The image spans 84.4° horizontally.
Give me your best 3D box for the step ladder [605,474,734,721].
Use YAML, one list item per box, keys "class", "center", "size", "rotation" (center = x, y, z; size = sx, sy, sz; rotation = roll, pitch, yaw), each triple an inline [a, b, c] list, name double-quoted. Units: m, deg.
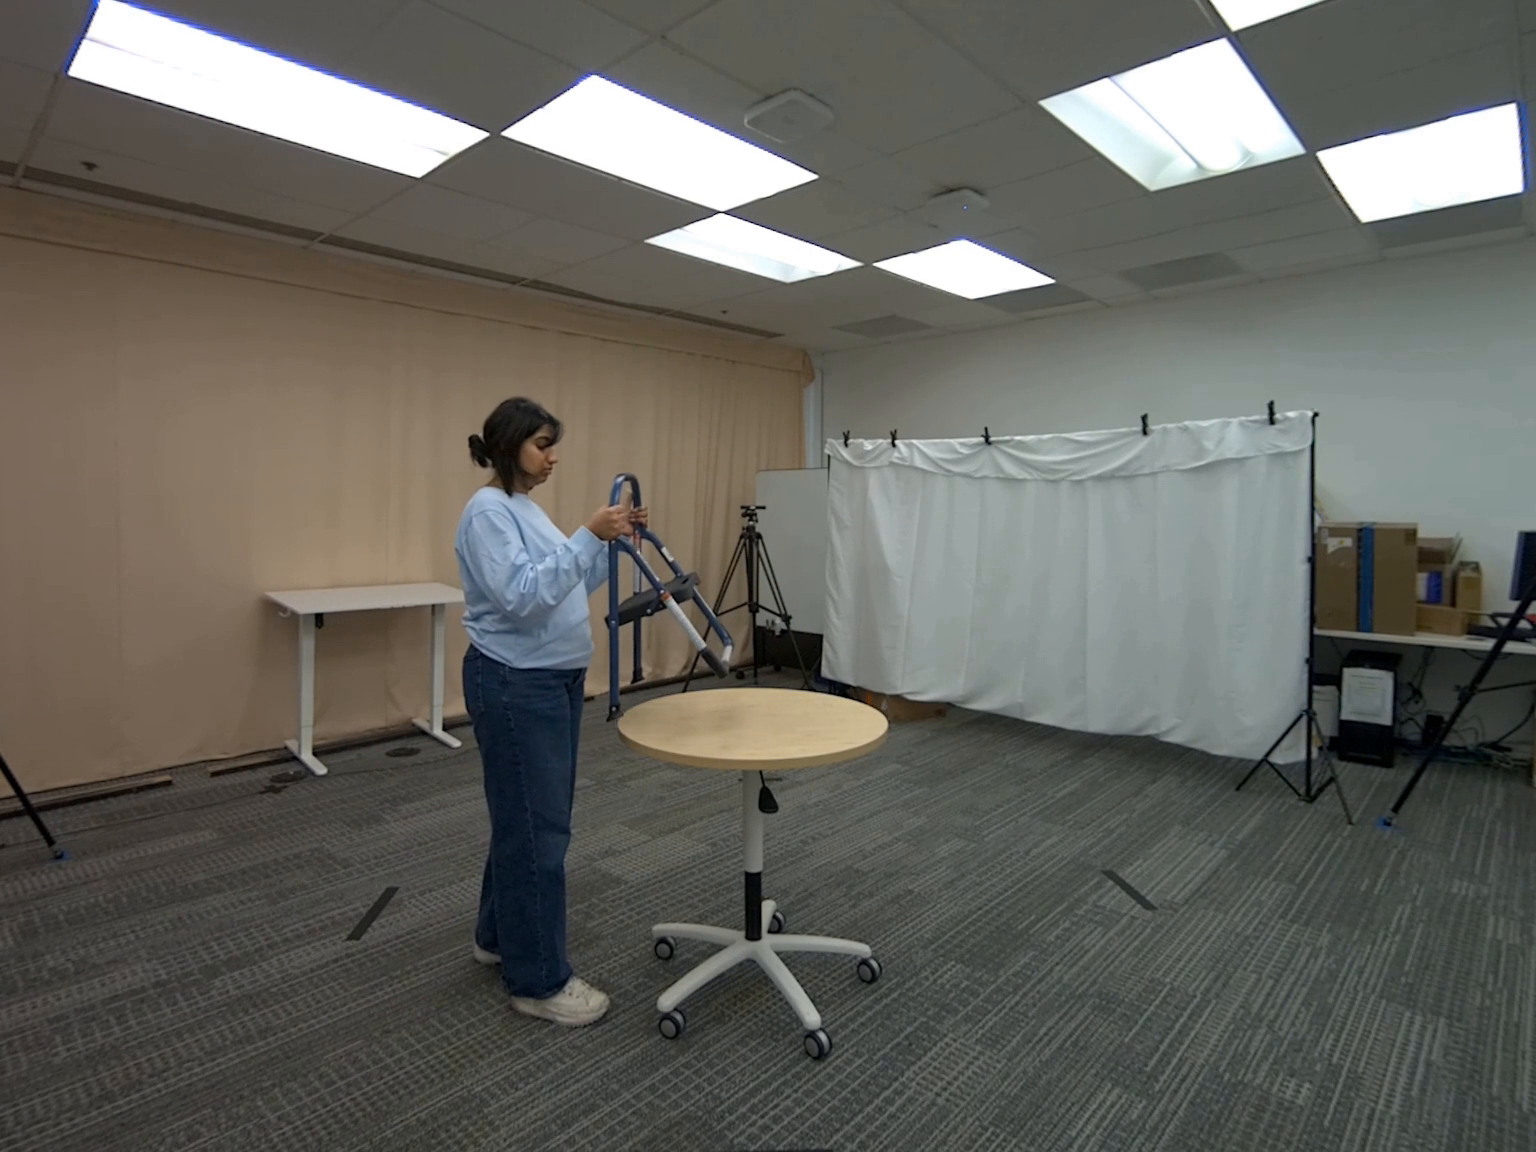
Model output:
- class: "step ladder"
  center: [-0.366, 0.022, 2.401]
  size: [0.350, 0.604, 0.430]
  rotation: [-20, 3, 3]
